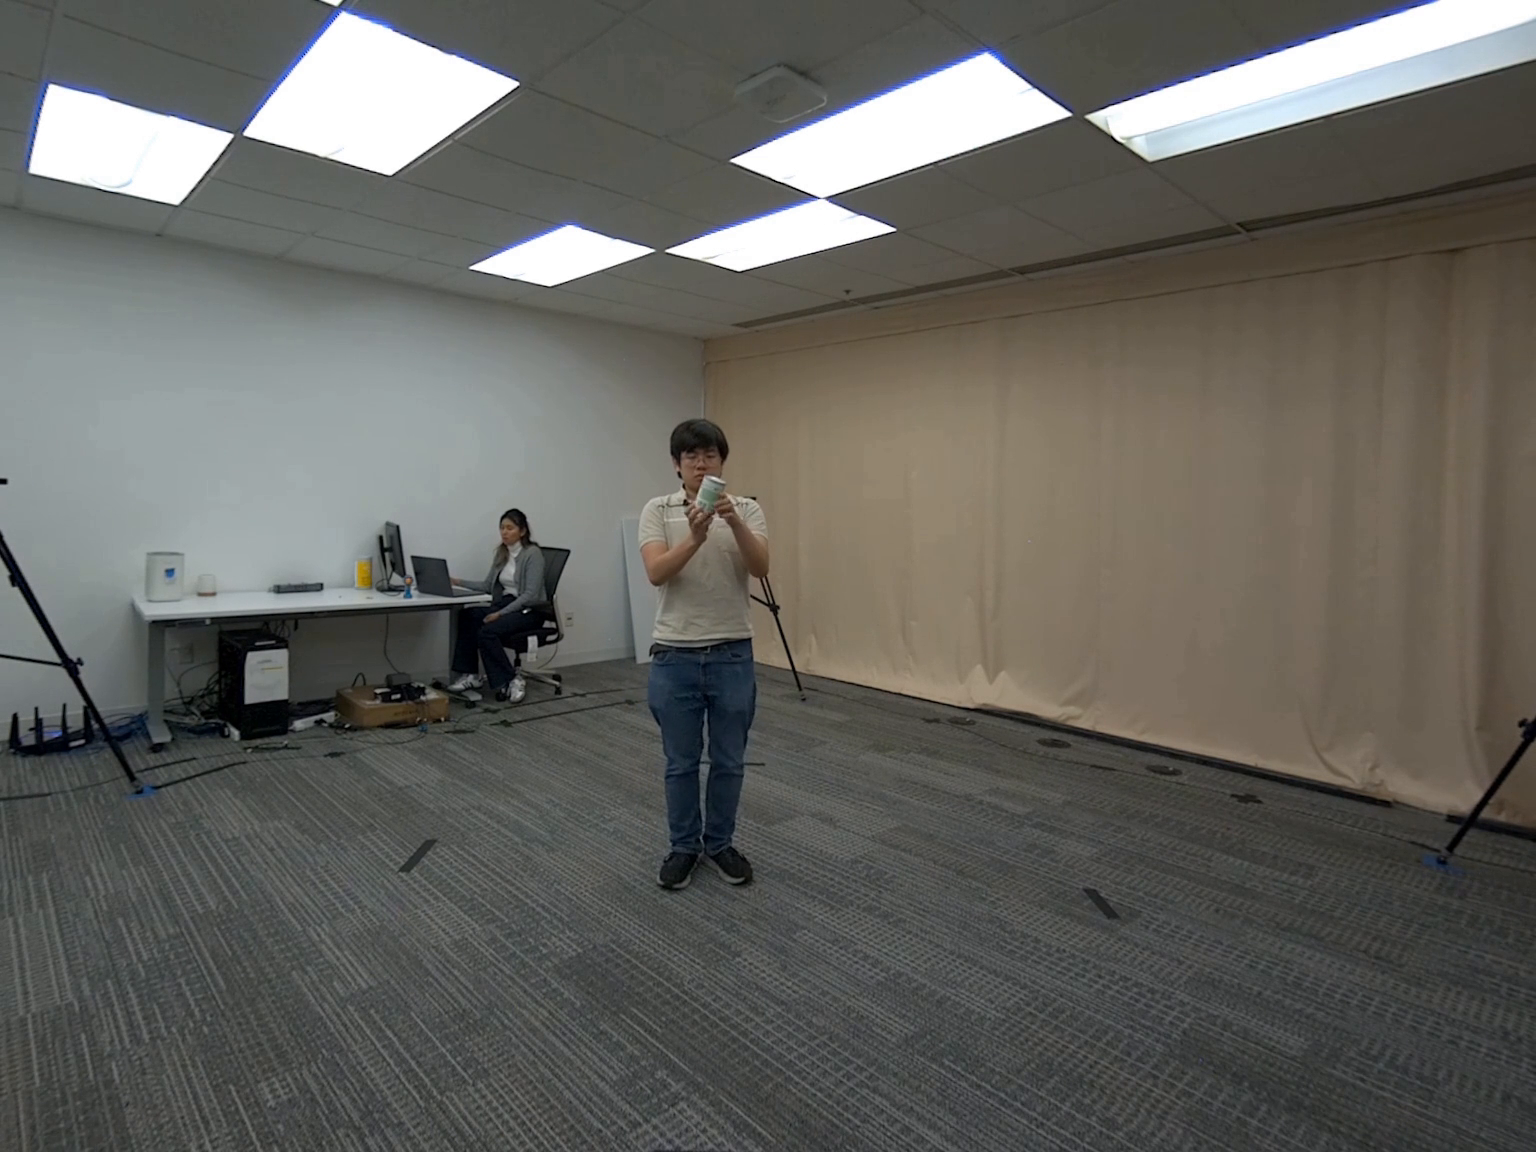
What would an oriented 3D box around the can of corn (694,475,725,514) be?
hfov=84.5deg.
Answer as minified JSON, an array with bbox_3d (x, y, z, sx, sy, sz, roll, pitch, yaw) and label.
[{"bbox_3d":[-0.190,-0.265,2.717,0.074,0.110,0.075,15,11,-5],"label":"can of corn"}]
